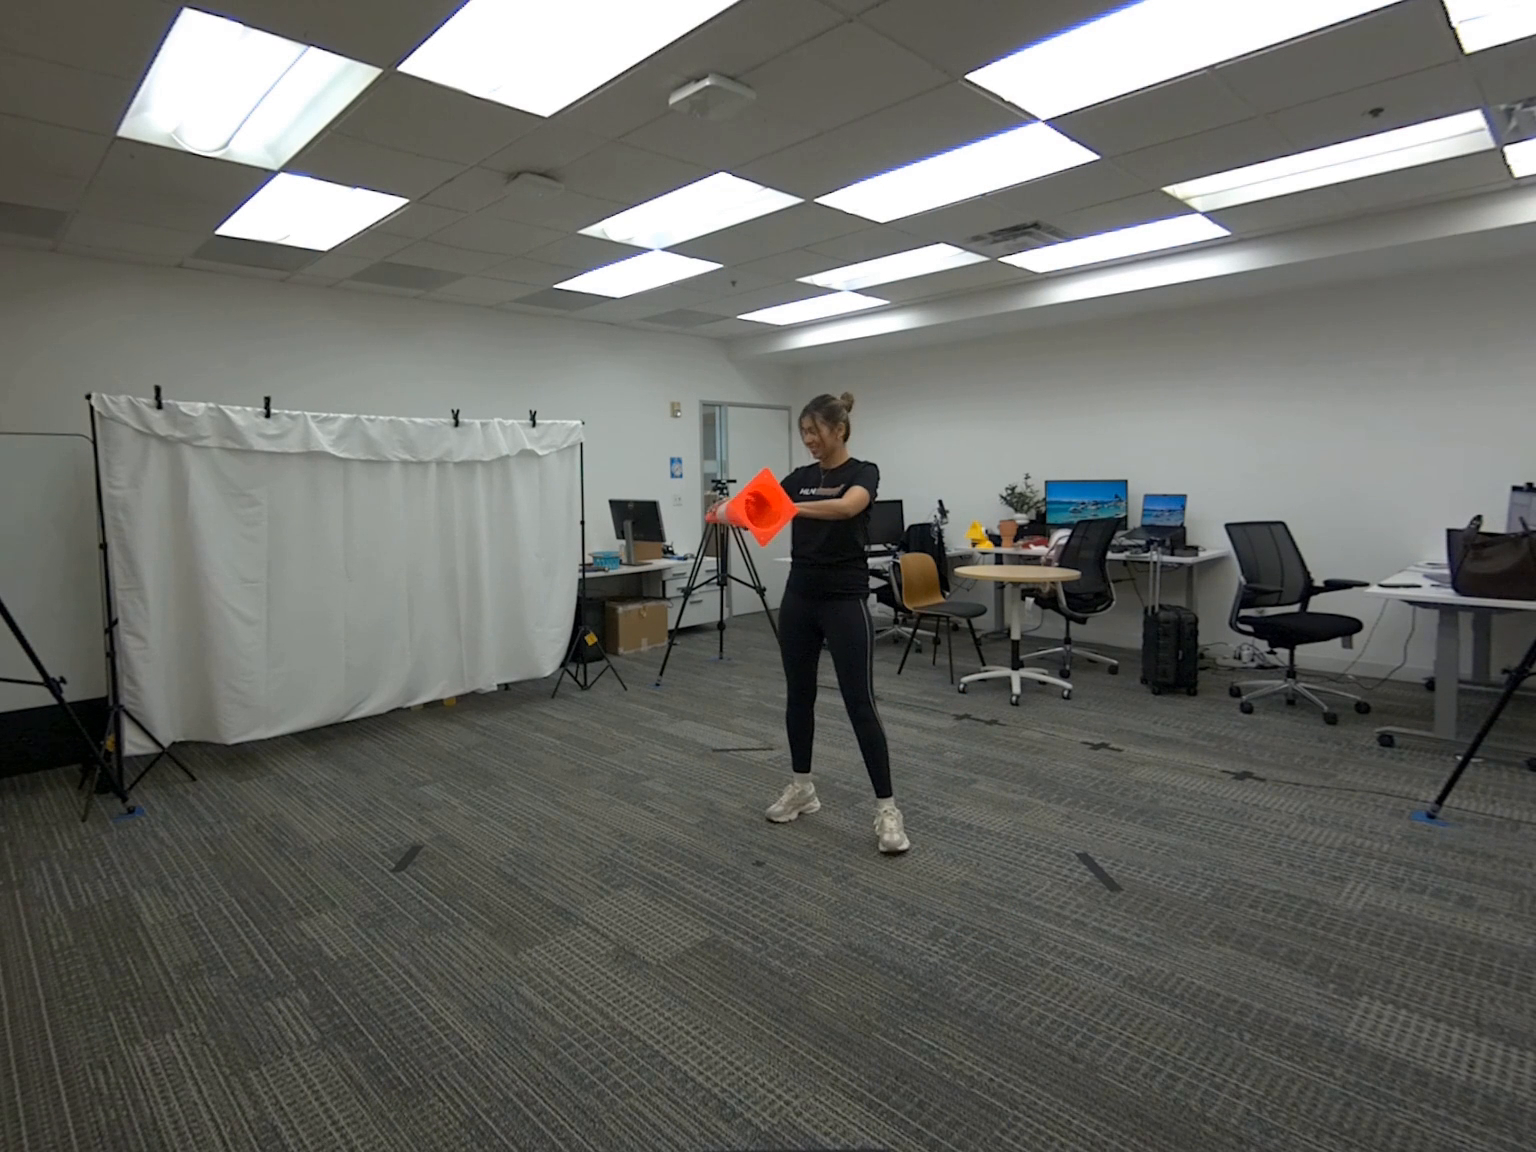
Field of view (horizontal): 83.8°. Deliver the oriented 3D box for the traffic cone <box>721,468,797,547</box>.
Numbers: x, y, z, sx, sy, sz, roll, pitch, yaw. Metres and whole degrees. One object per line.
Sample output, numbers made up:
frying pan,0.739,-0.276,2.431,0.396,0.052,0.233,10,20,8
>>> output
traffic cone,-0.107,-0.219,3.041,0.203,0.201,0.392,-45,19,-24
